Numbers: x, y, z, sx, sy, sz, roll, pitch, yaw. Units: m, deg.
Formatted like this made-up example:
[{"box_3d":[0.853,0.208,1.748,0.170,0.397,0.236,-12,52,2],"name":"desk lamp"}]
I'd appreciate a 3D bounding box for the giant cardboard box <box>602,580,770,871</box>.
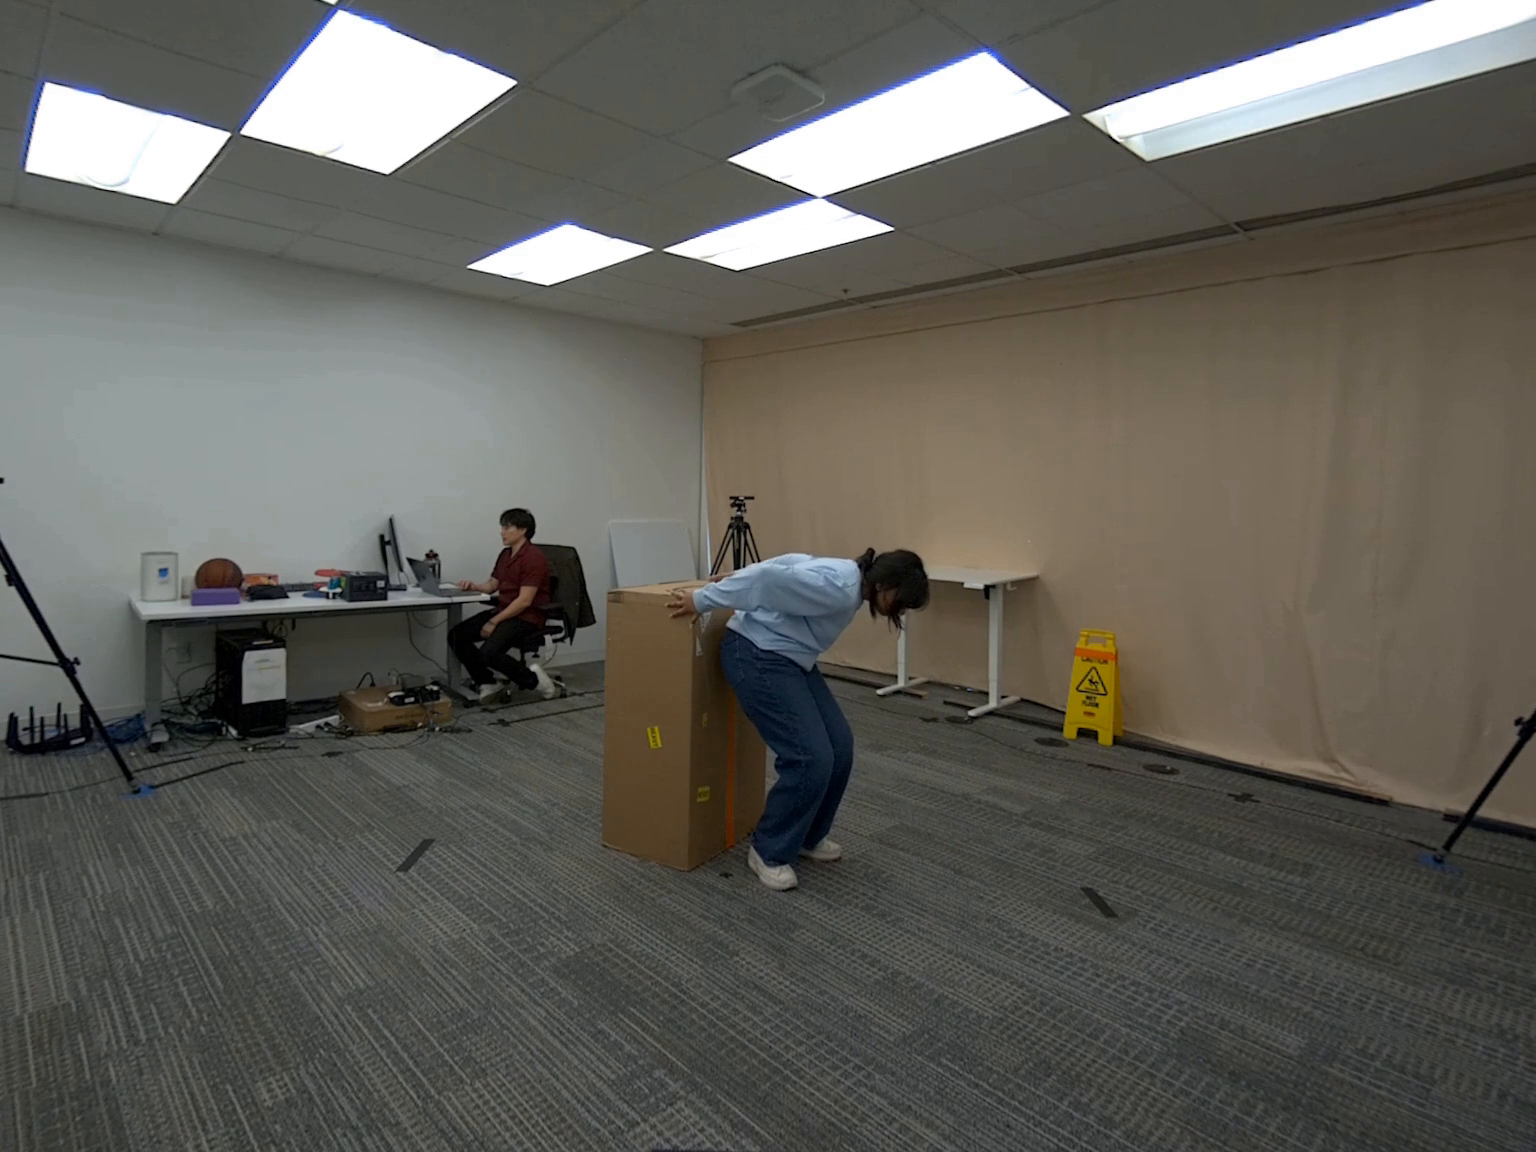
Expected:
[{"box_3d":[-0.331,0.565,3.454,0.436,1.024,0.565,4,3,32],"name":"giant cardboard box"}]
